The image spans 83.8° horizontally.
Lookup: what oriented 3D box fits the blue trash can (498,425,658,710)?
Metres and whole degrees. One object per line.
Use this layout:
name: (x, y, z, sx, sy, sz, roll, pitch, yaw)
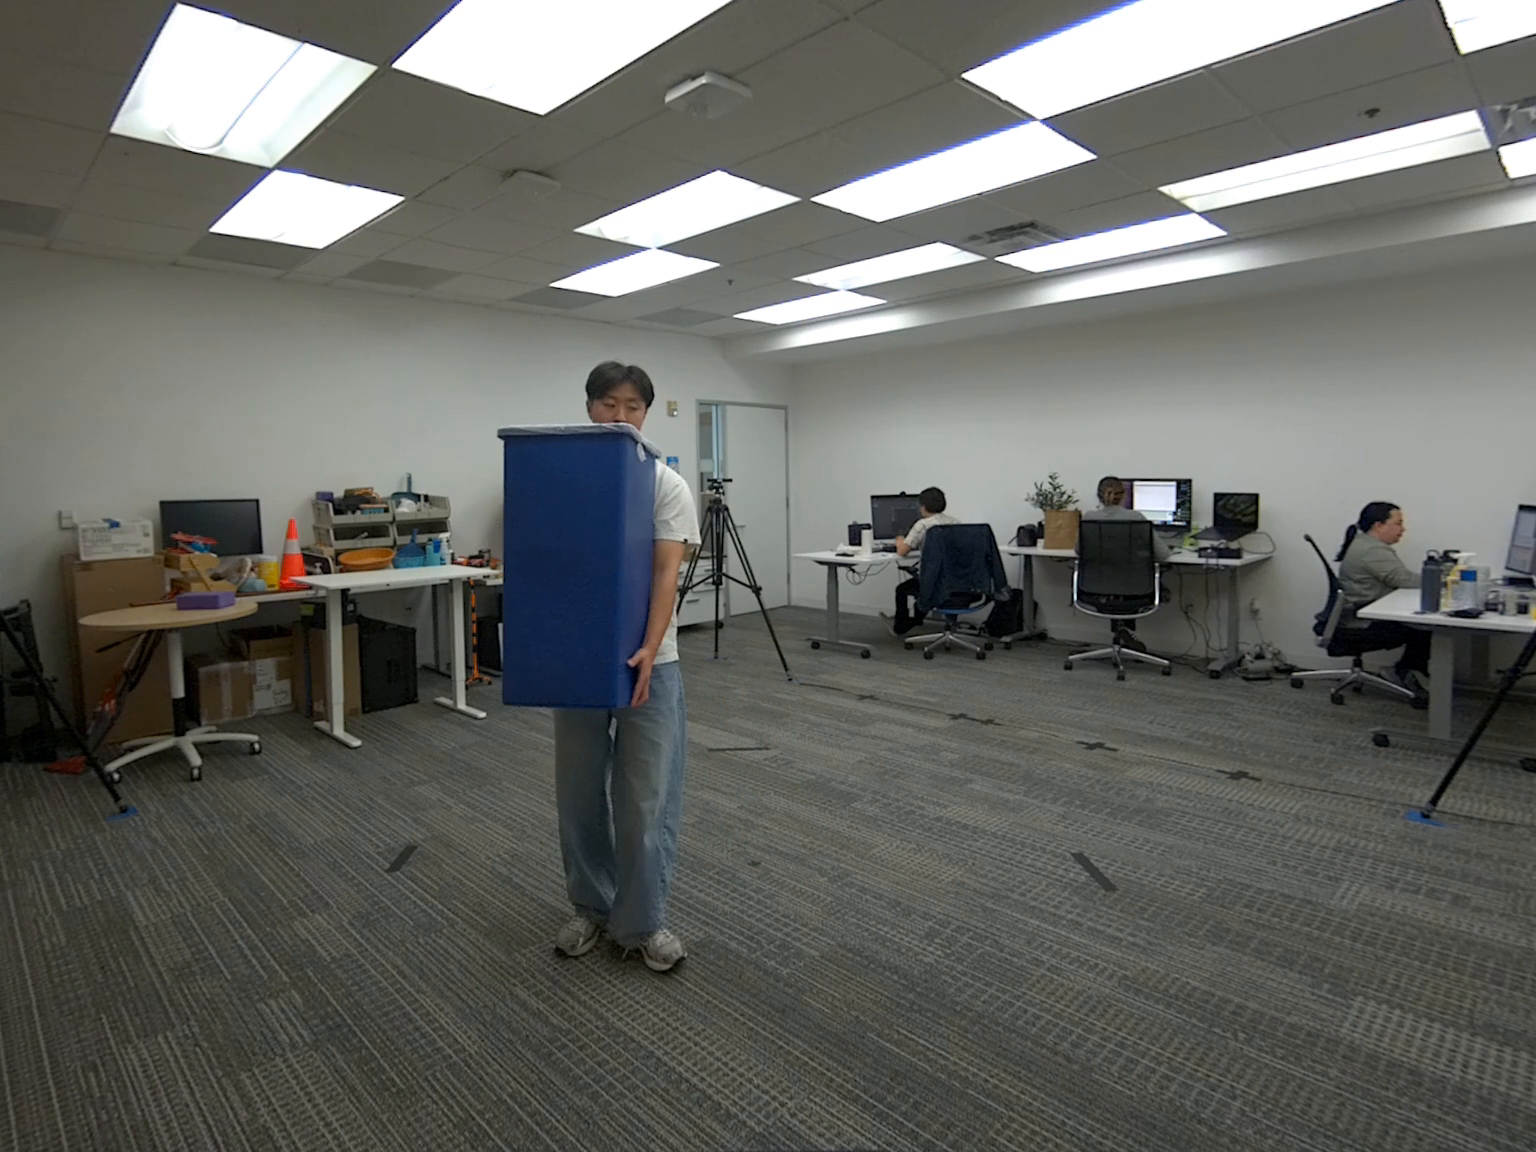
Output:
blue trash can: (-0.509, -0.019, 2.309, 0.377, 0.718, 0.372, 0, -6, 8)
